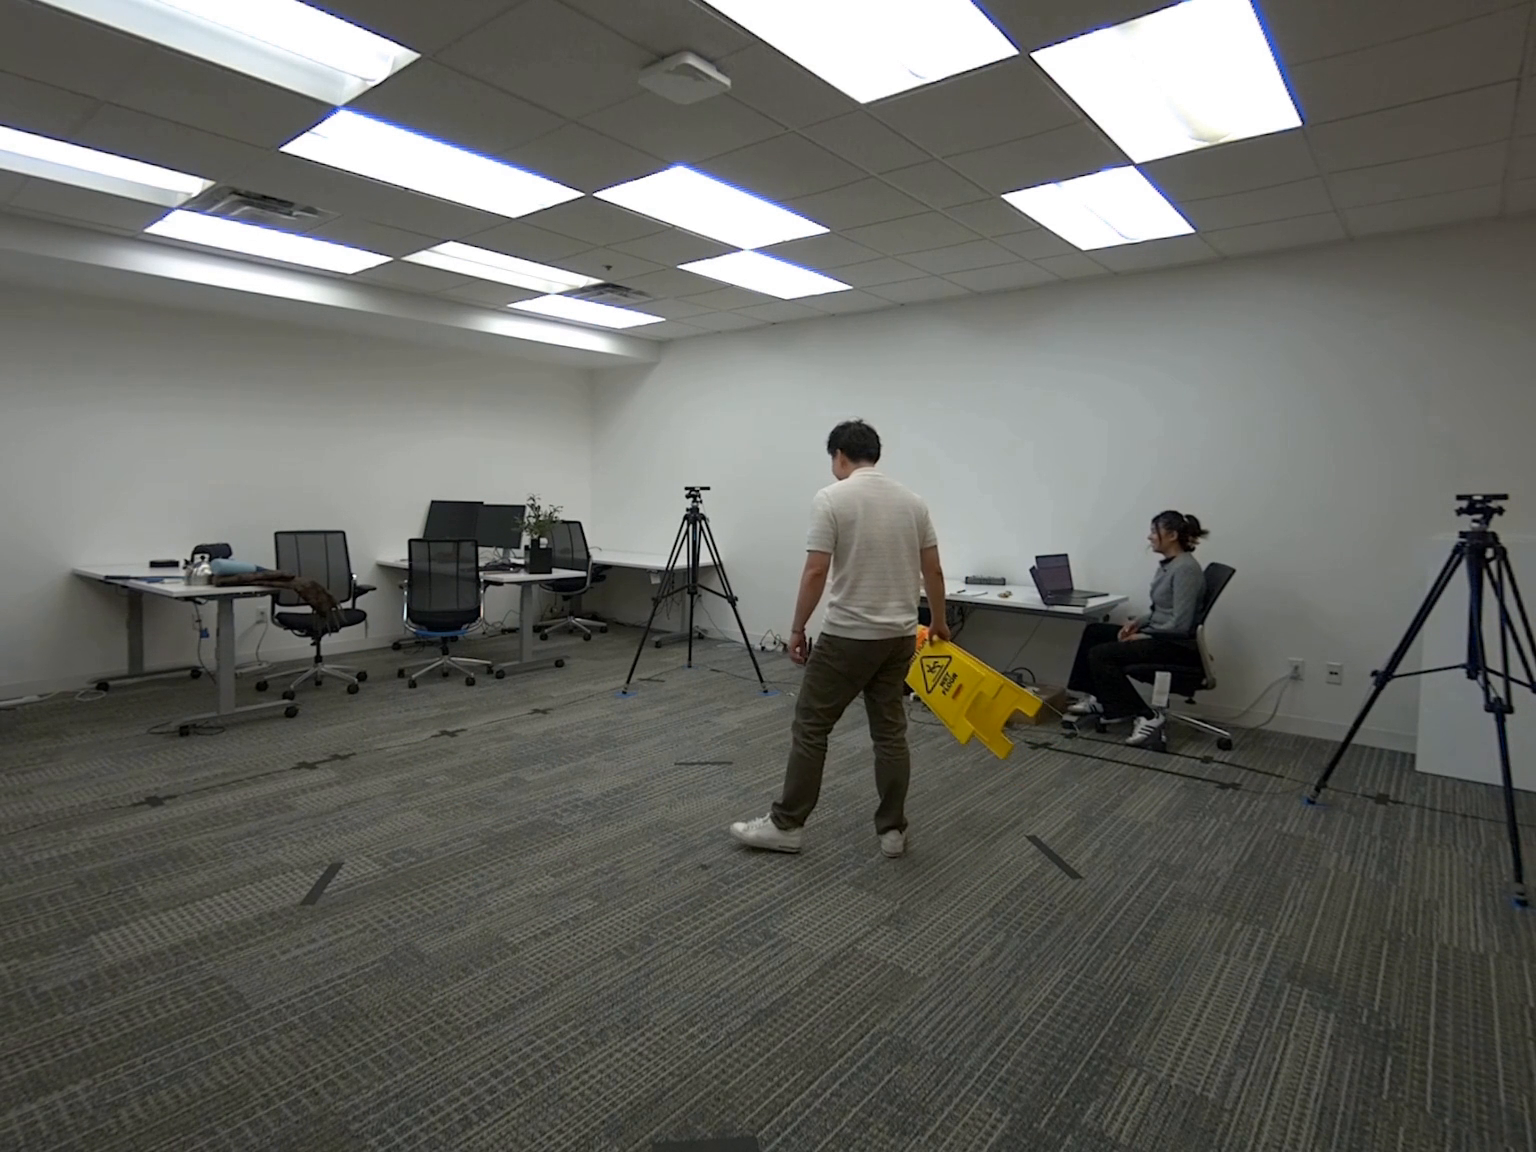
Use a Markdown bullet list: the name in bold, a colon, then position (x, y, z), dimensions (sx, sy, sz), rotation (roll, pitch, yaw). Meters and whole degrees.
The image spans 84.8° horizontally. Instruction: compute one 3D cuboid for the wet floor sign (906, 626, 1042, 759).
- **wet floor sign**: position (0.711, 0.406, 3.455), dimensions (0.278, 0.281, 0.674), rotation (23, 12, -40)
